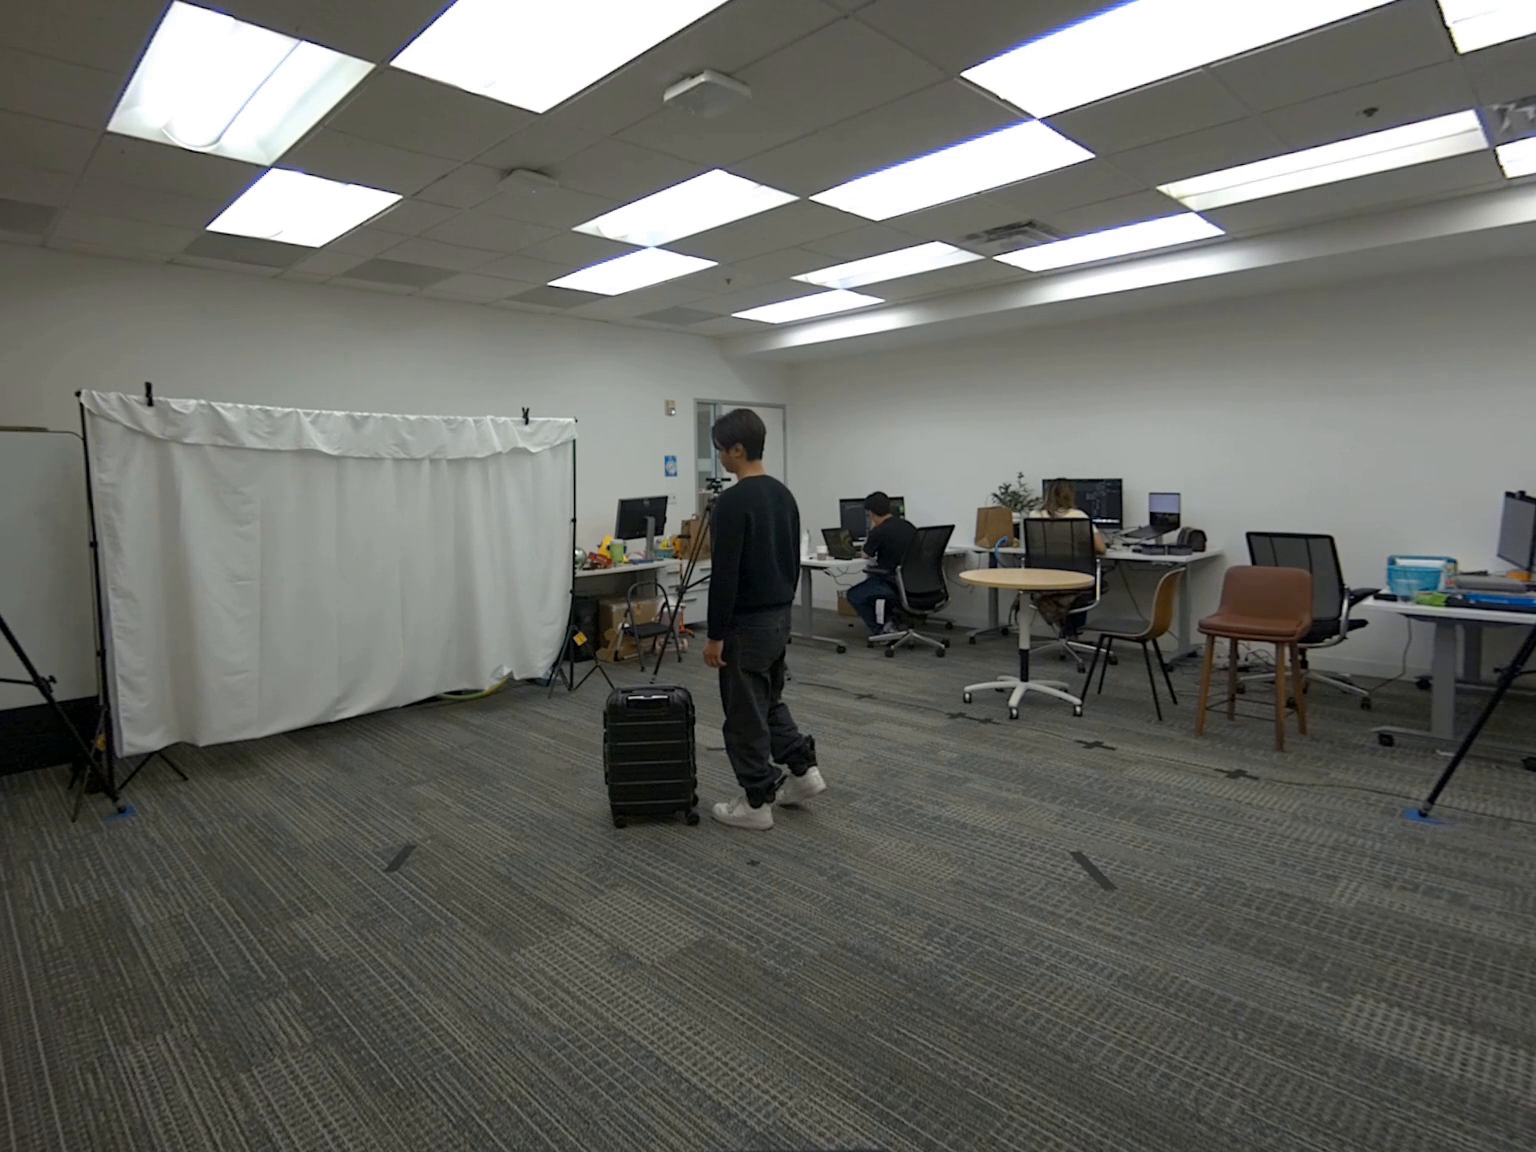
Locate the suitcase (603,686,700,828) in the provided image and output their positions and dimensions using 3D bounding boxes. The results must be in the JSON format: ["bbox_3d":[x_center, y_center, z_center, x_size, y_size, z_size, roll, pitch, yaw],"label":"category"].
[{"bbox_3d":[-0.491,0.728,3.552,0.374,0.547,0.250,-2,4,-4],"label":"suitcase"}]
